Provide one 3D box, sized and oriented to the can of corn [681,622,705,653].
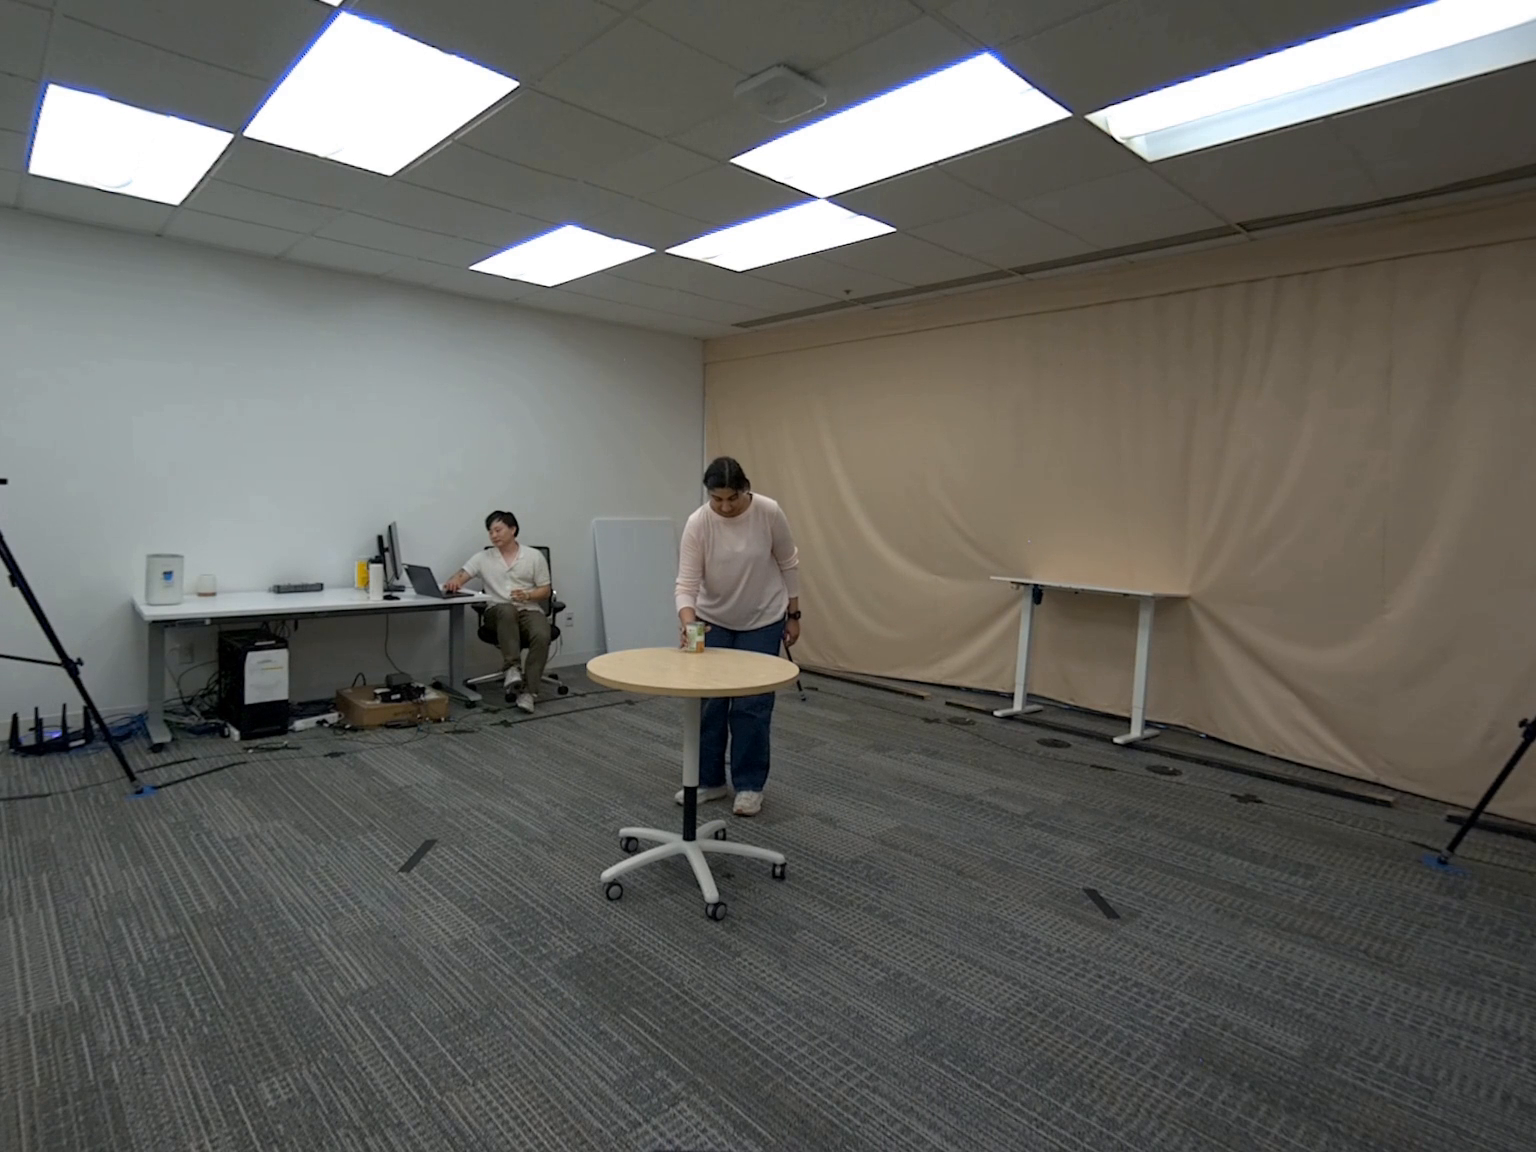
[{"bbox_3d":[-0.309,0.246,3.327,0.074,0.111,0.074,-1,3,-1],"label":"can of corn"}]
